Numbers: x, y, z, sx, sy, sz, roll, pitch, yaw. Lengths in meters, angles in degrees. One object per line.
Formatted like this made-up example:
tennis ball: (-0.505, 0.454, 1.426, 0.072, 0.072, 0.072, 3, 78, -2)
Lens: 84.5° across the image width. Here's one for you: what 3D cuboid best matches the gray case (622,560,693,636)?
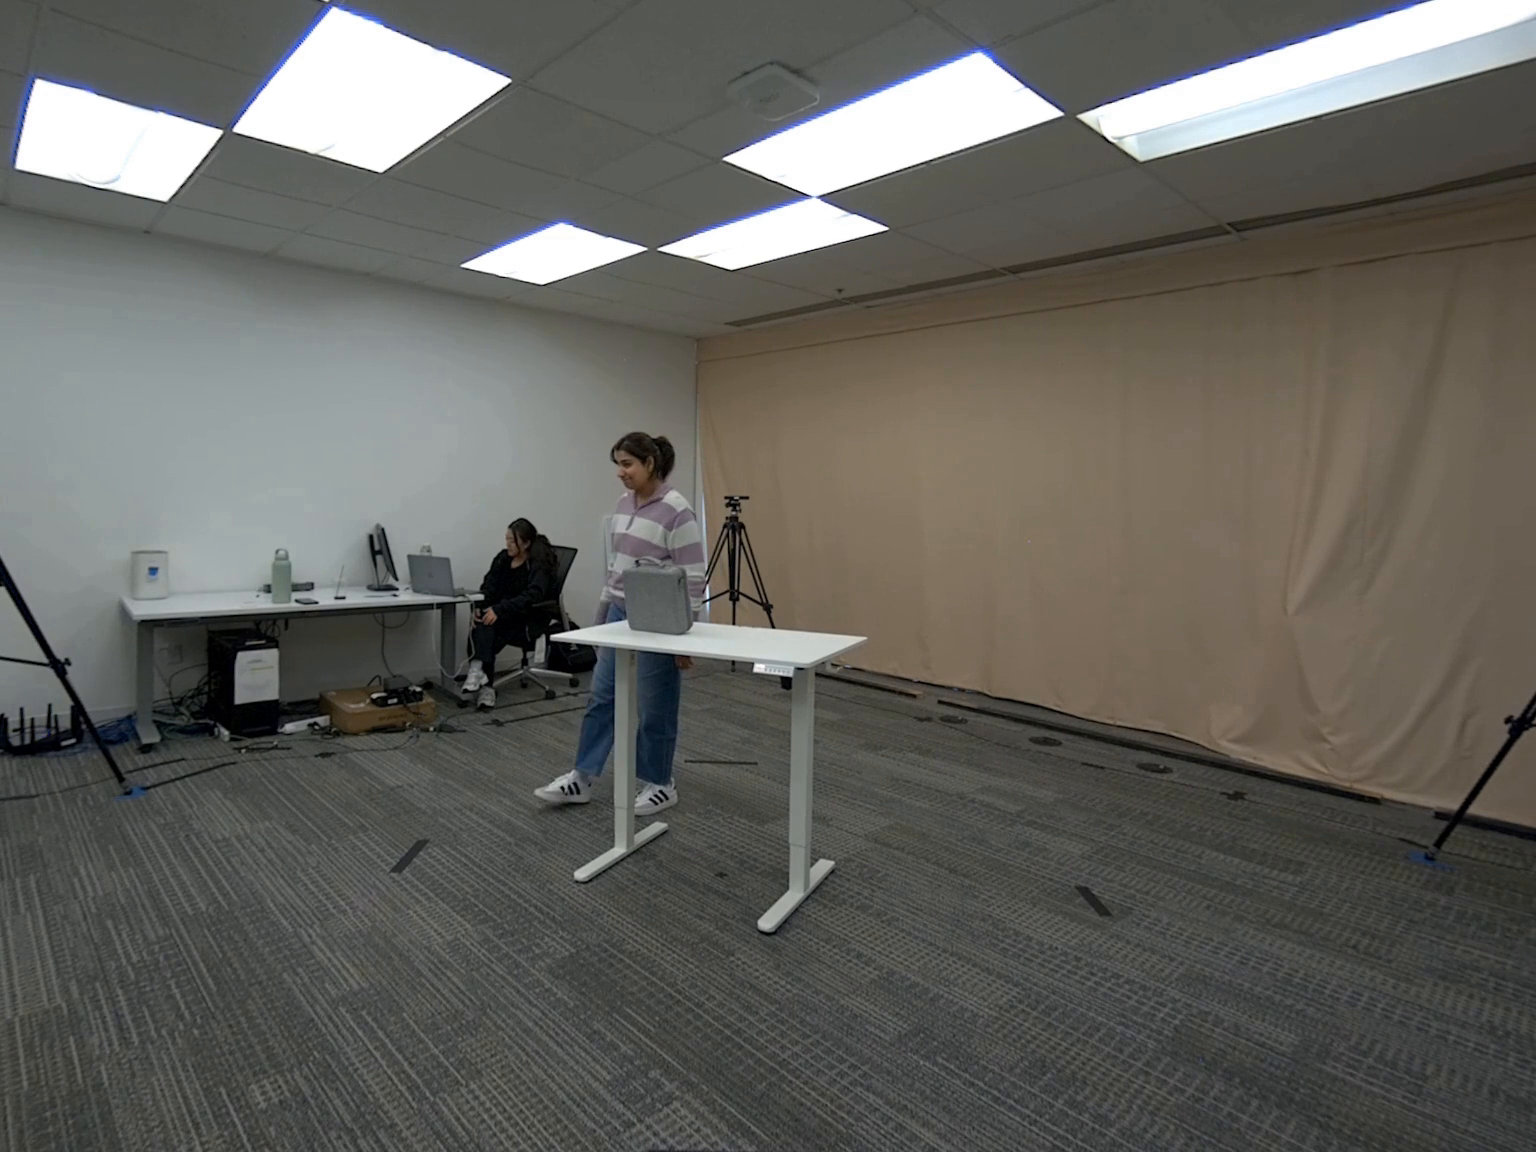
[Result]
gray case: (-0.424, 0.080, 3.150, 0.263, 0.258, 0.103, 2, 15, 33)
